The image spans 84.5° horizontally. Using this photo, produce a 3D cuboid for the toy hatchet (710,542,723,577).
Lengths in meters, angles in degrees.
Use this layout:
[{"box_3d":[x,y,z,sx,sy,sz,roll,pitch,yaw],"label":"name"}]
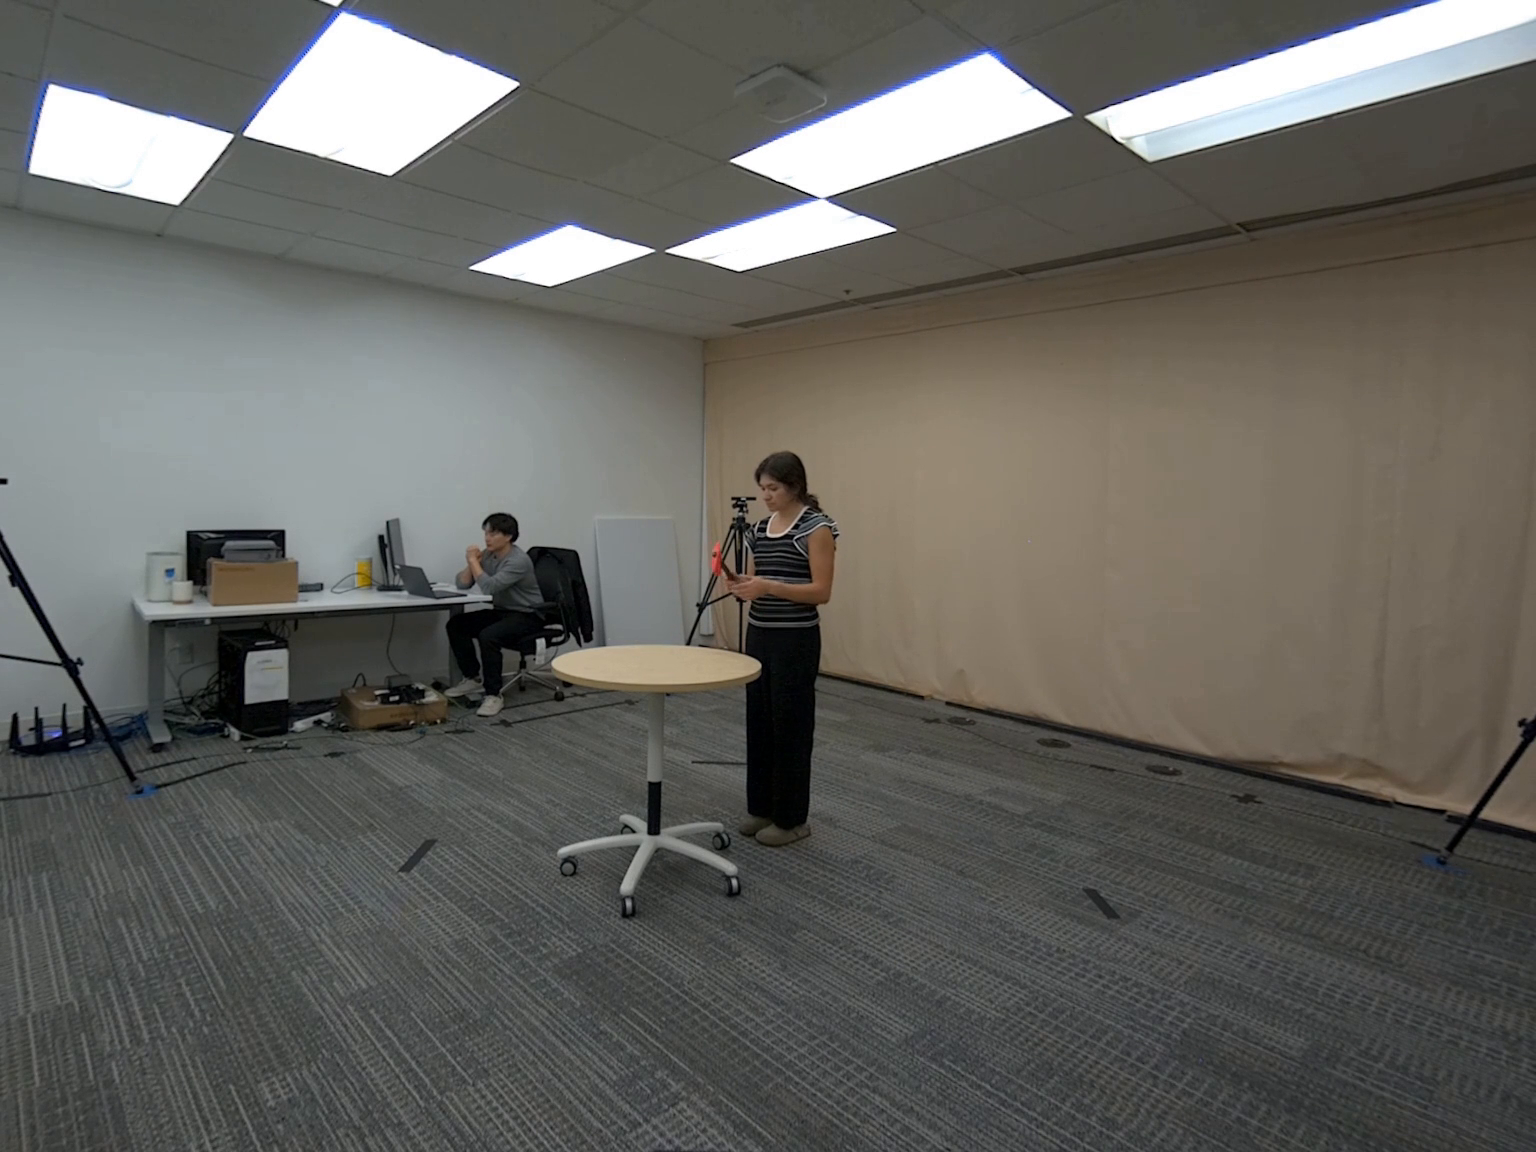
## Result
[{"box_3d":[-0.177,0.002,3.283,0.030,0.263,0.133,-6,38,19],"label":"toy hatchet"}]
